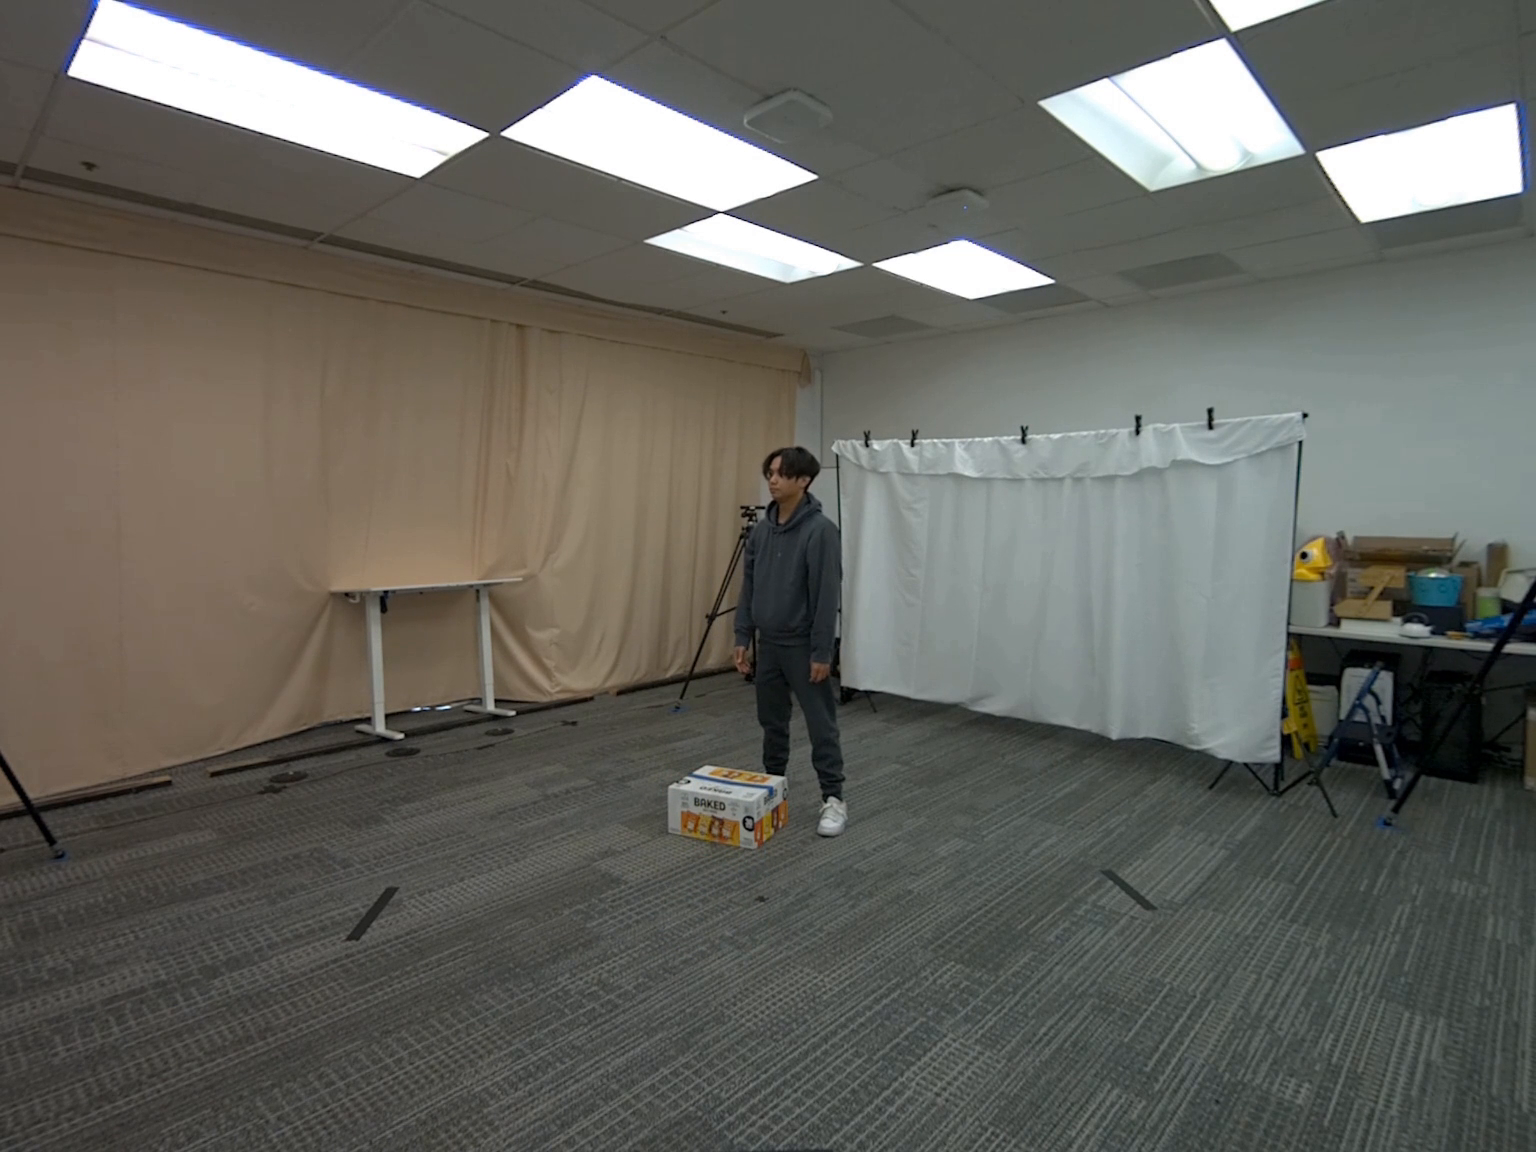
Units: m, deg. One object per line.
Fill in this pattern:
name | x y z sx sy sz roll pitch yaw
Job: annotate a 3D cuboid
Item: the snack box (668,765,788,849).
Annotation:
snack box | -0.169 0.989 3.636 0.416 0.205 0.332 2 4 26
